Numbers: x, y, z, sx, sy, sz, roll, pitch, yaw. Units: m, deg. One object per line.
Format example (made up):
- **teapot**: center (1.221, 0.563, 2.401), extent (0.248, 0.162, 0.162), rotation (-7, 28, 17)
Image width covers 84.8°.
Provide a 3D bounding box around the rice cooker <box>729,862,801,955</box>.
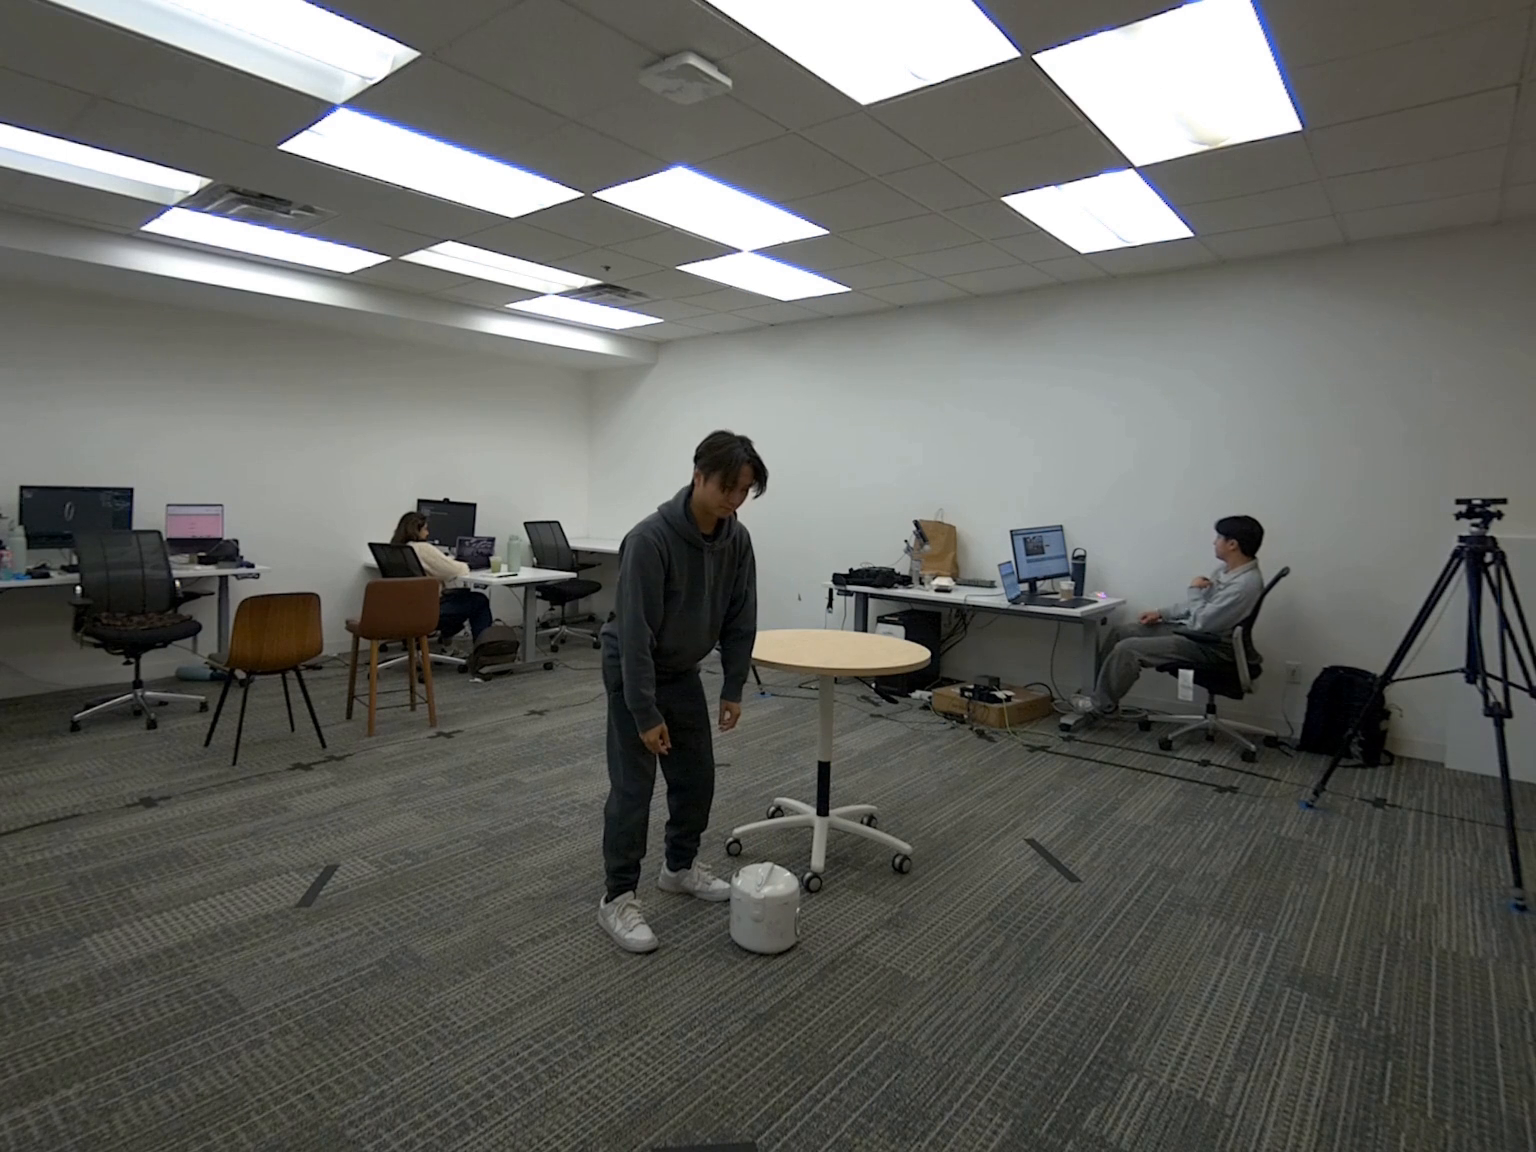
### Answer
- **rice cooker**: center (-0.014, 1.010, 2.616), extent (0.221, 0.232, 0.217), rotation (3, 4, 16)
